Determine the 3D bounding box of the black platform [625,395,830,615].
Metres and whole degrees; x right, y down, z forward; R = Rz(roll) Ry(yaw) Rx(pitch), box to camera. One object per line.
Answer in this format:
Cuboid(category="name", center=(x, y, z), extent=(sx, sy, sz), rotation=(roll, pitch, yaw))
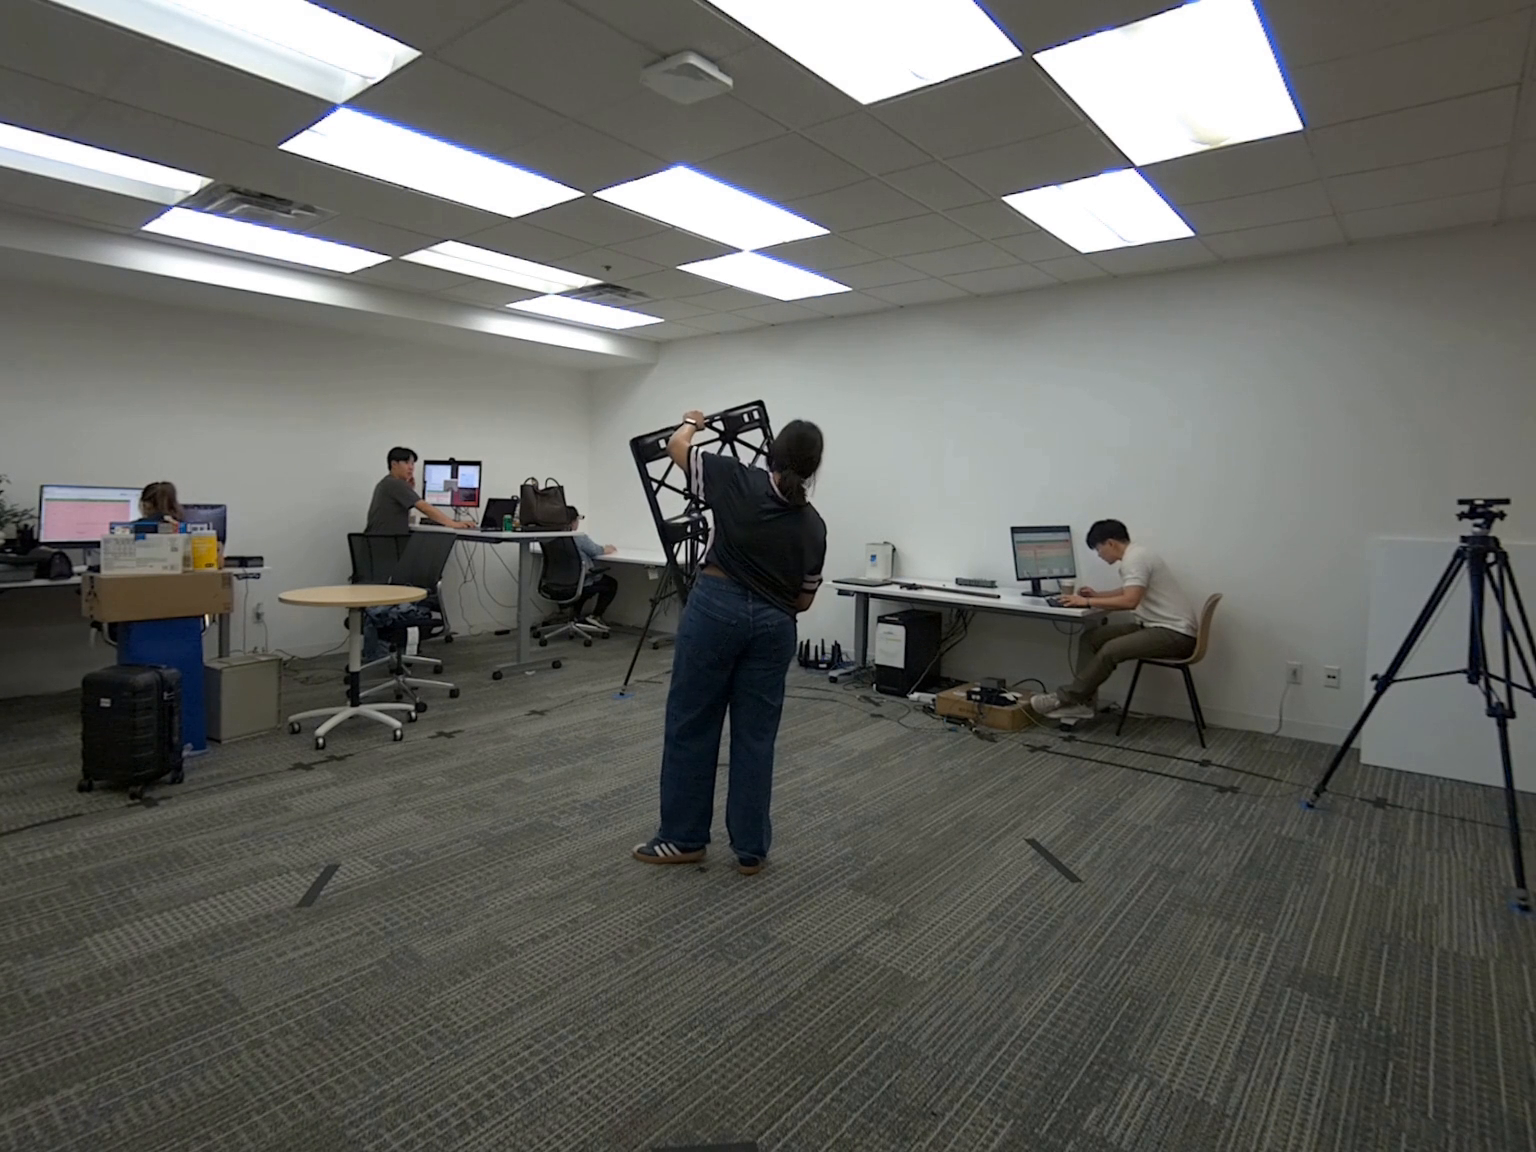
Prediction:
Cuboid(category="black platform", center=(-0.159, -0.255, 3.423), extent=(0.598, 0.800, 0.146), rotation=(-20, 6, -19))
